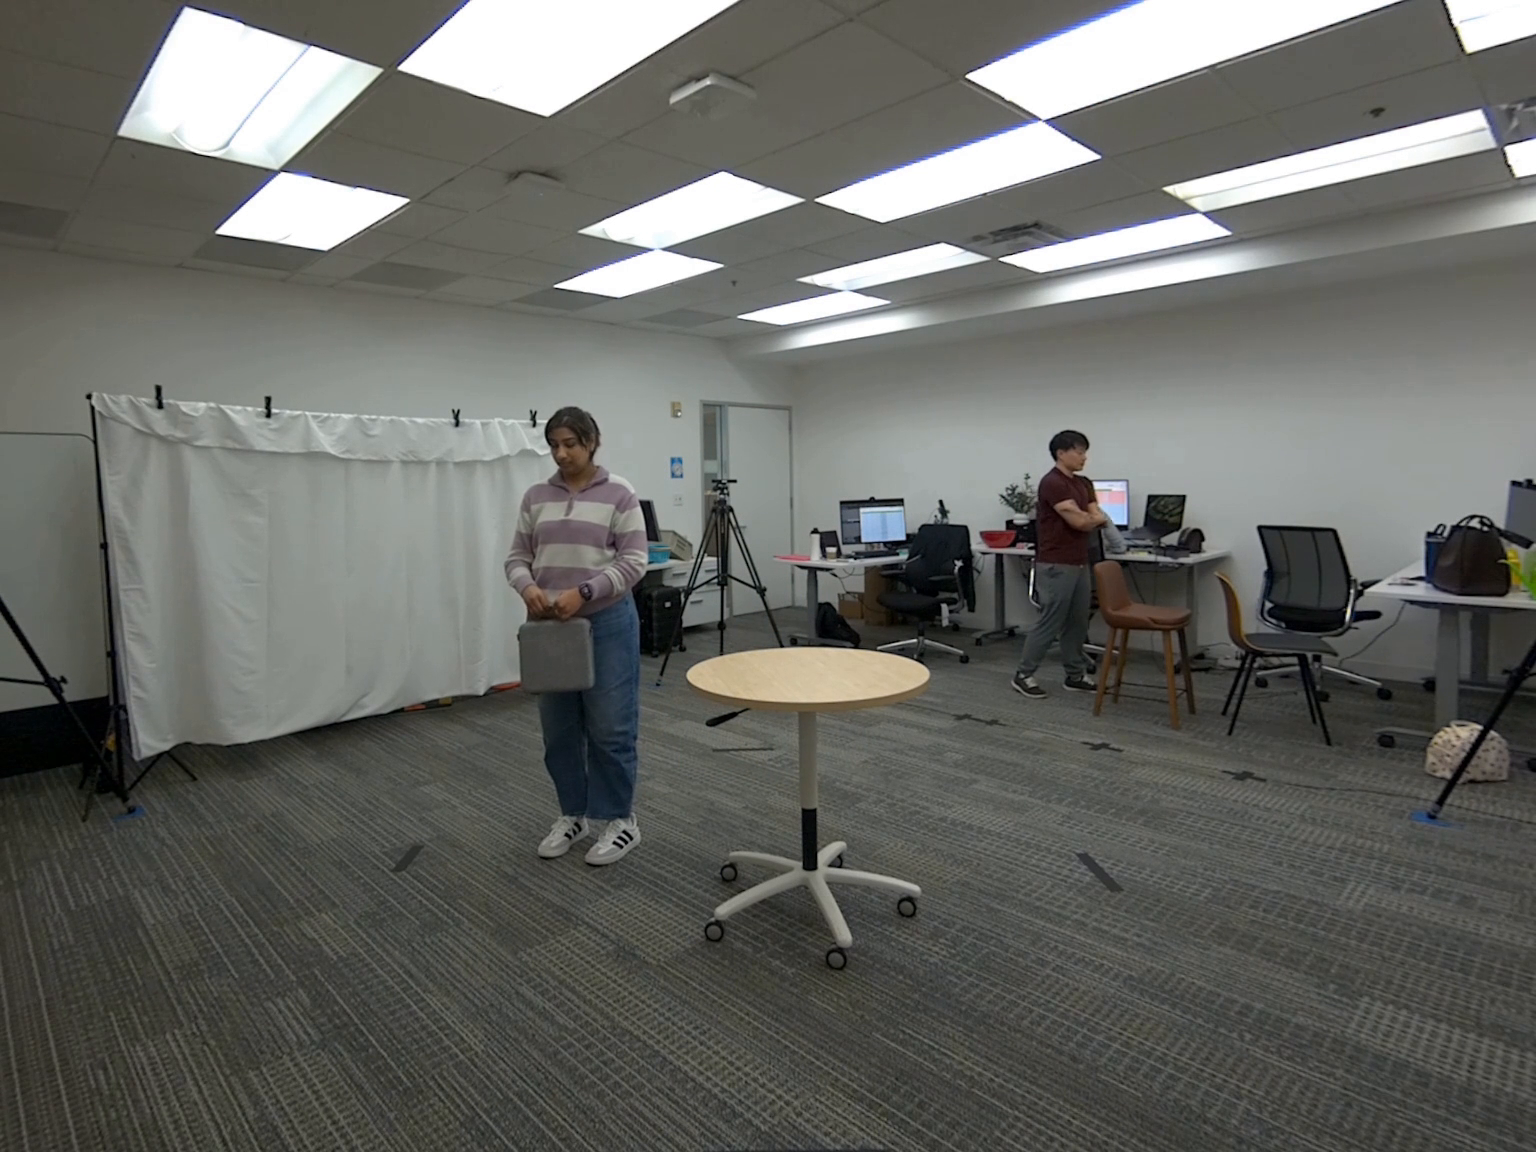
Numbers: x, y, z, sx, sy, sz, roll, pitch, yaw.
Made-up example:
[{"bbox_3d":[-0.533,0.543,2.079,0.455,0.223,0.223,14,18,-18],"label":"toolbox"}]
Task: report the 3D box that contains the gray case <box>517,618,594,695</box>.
[{"bbox_3d":[-0.753,0.273,3.022,0.257,0.261,0.104,-4,-1,0],"label":"gray case"}]
